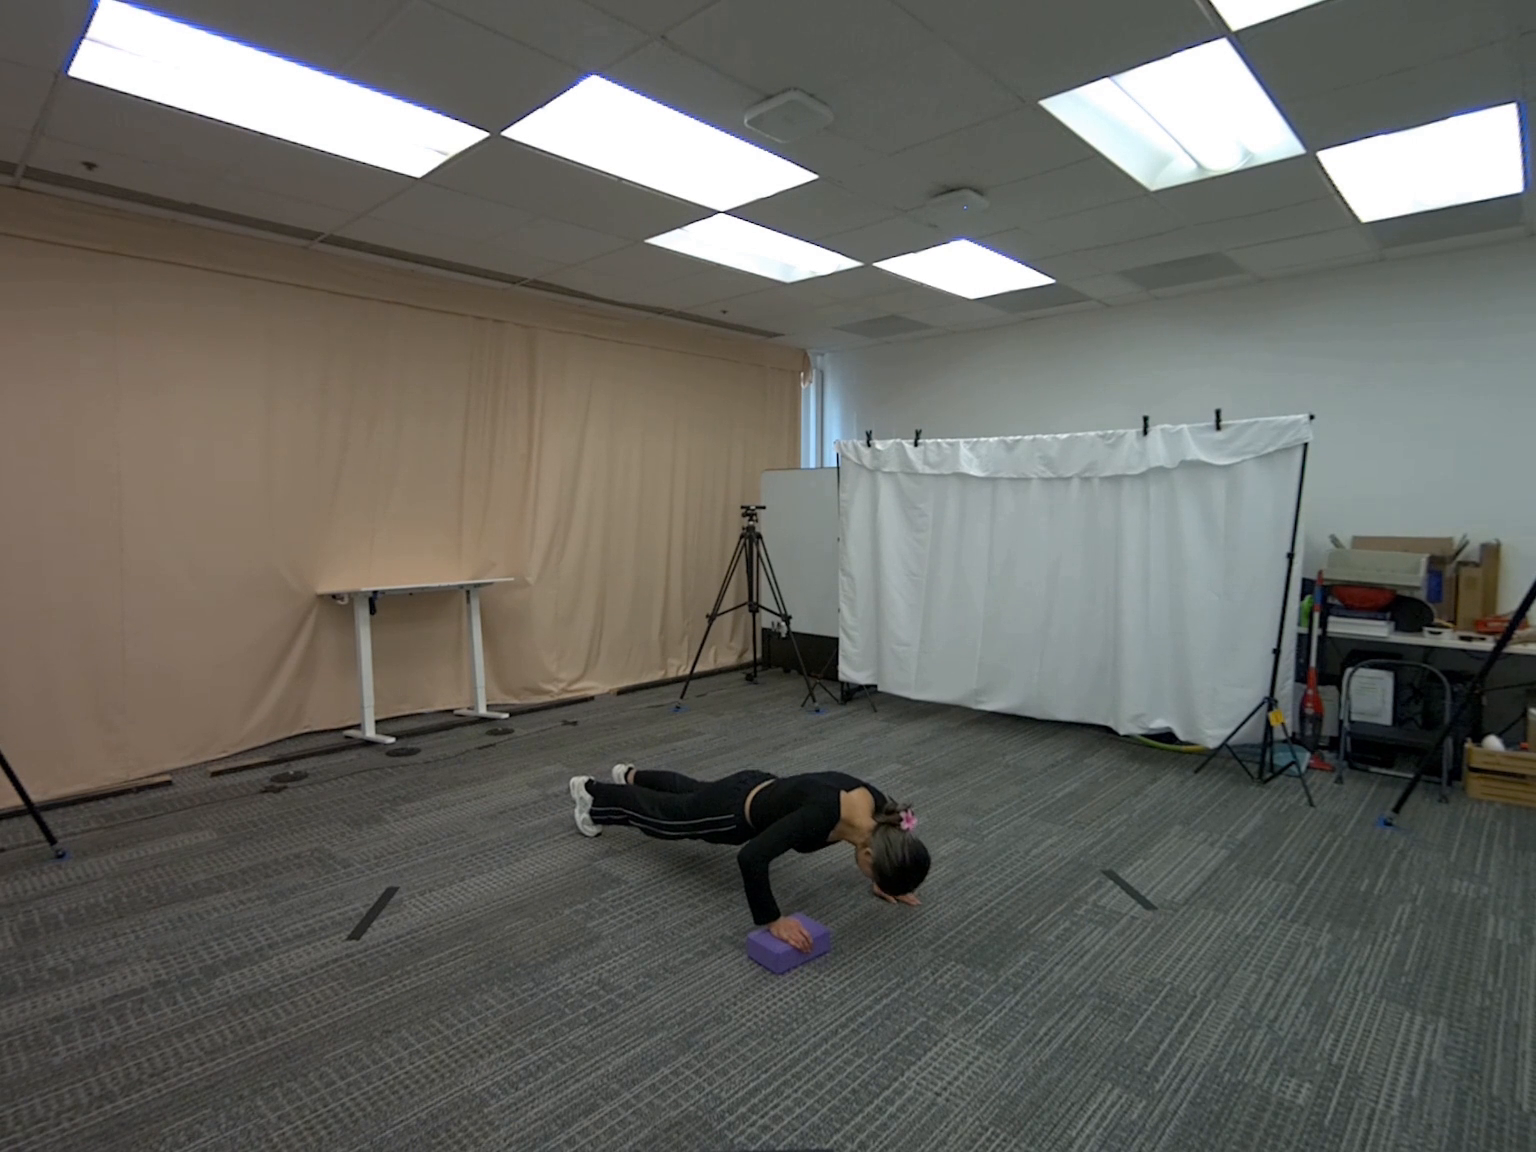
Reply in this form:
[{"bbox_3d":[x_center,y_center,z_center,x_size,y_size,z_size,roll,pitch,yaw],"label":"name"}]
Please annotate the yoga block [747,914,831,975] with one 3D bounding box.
[{"bbox_3d":[0.067,1.134,2.617,0.222,0.076,0.154,-5,7,-40],"label":"yoga block"}]
